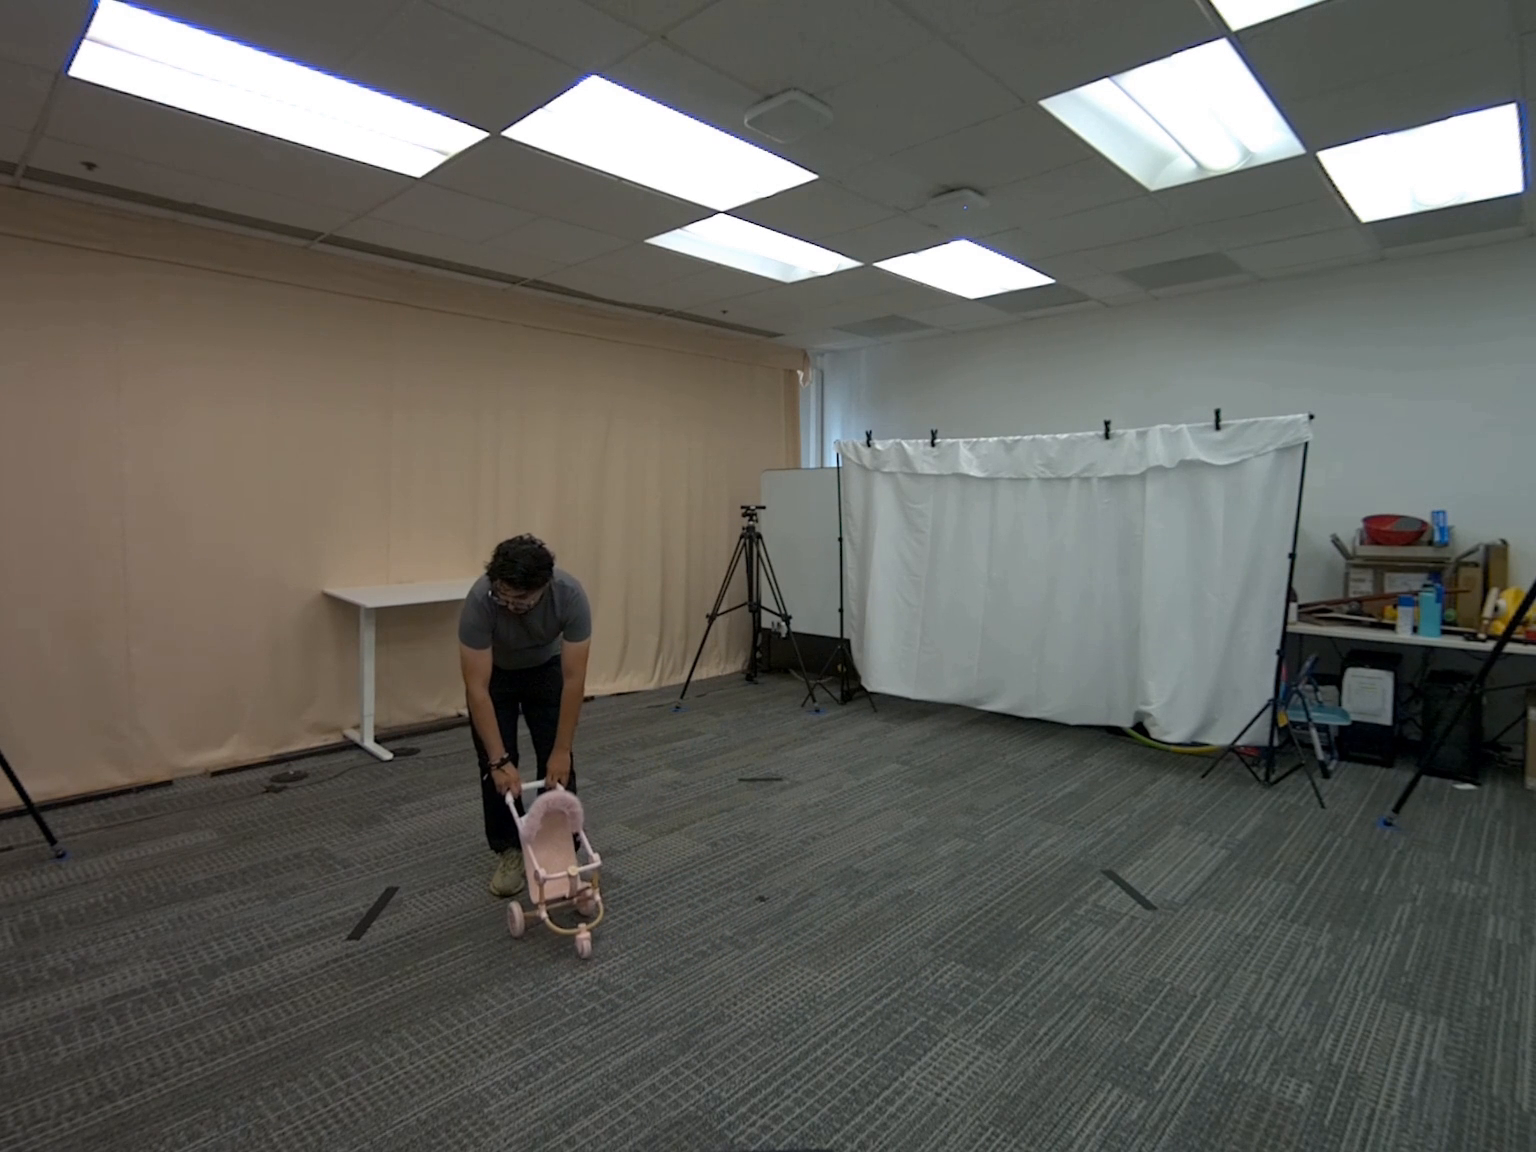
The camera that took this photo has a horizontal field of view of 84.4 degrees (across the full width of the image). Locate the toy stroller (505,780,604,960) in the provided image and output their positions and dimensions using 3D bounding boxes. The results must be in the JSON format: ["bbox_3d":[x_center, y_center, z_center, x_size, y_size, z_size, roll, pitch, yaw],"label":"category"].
[{"bbox_3d":[-0.681,0.943,2.739,0.273,0.539,0.348,-2,-11,-33],"label":"toy stroller"}]
